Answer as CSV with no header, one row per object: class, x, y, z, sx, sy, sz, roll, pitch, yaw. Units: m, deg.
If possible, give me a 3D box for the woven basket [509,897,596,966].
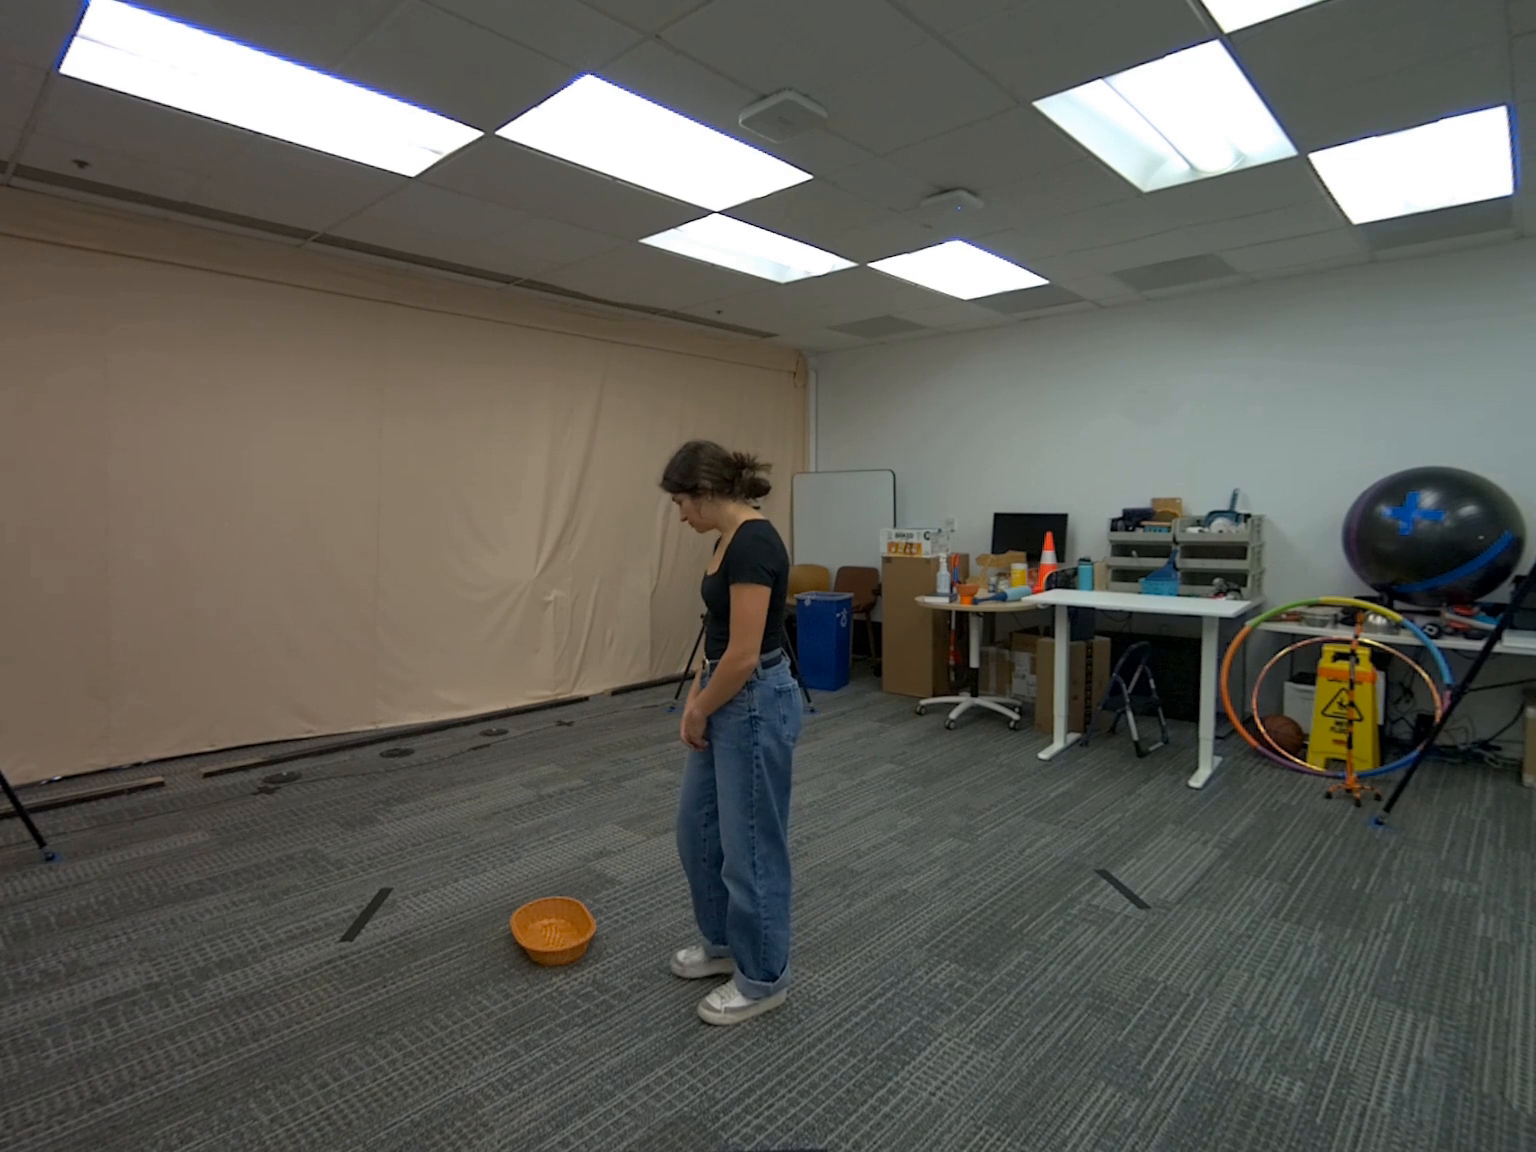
woven basket,-0.686,1.135,2.684,0.246,0.073,0.360,-4,6,-26
